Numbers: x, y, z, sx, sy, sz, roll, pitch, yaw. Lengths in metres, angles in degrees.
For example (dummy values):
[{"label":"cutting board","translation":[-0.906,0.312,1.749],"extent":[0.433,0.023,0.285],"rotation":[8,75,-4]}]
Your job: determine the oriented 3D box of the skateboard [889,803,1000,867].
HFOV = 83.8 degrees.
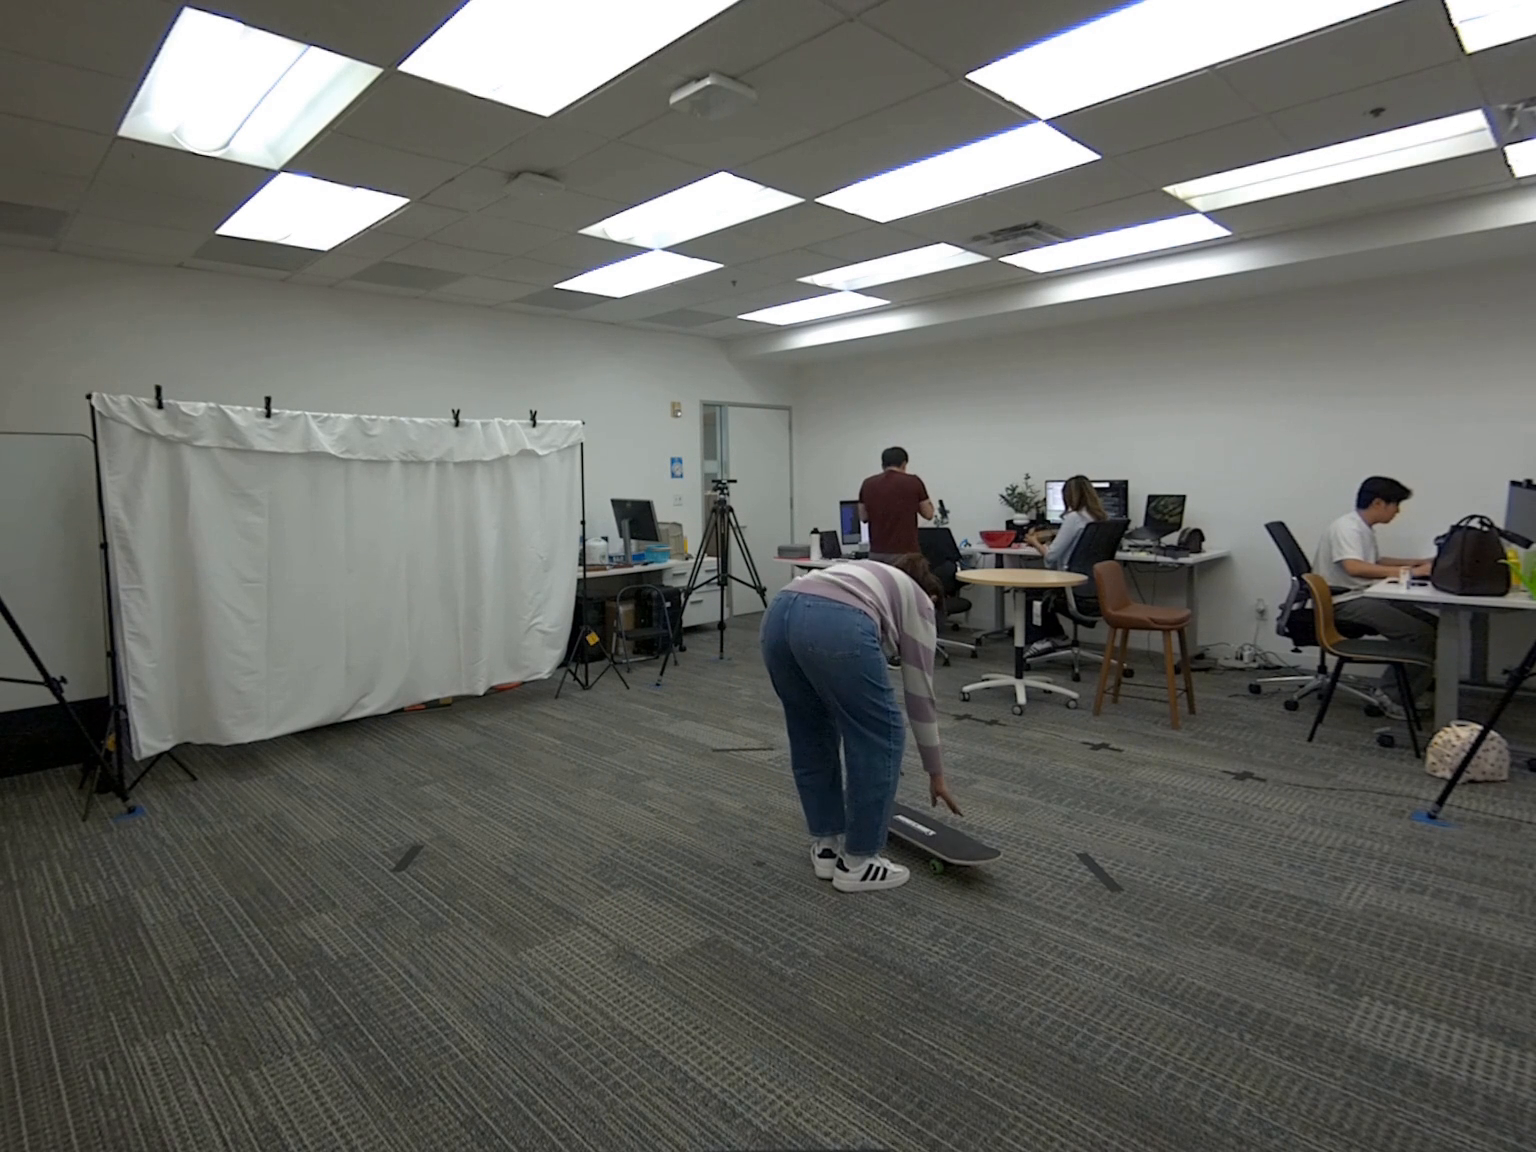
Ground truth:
[{"label":"skateboard","translation":[0.553,0.970,3.217],"extent":[0.189,0.110,0.808],"rotation":[-5,7,-31]}]
